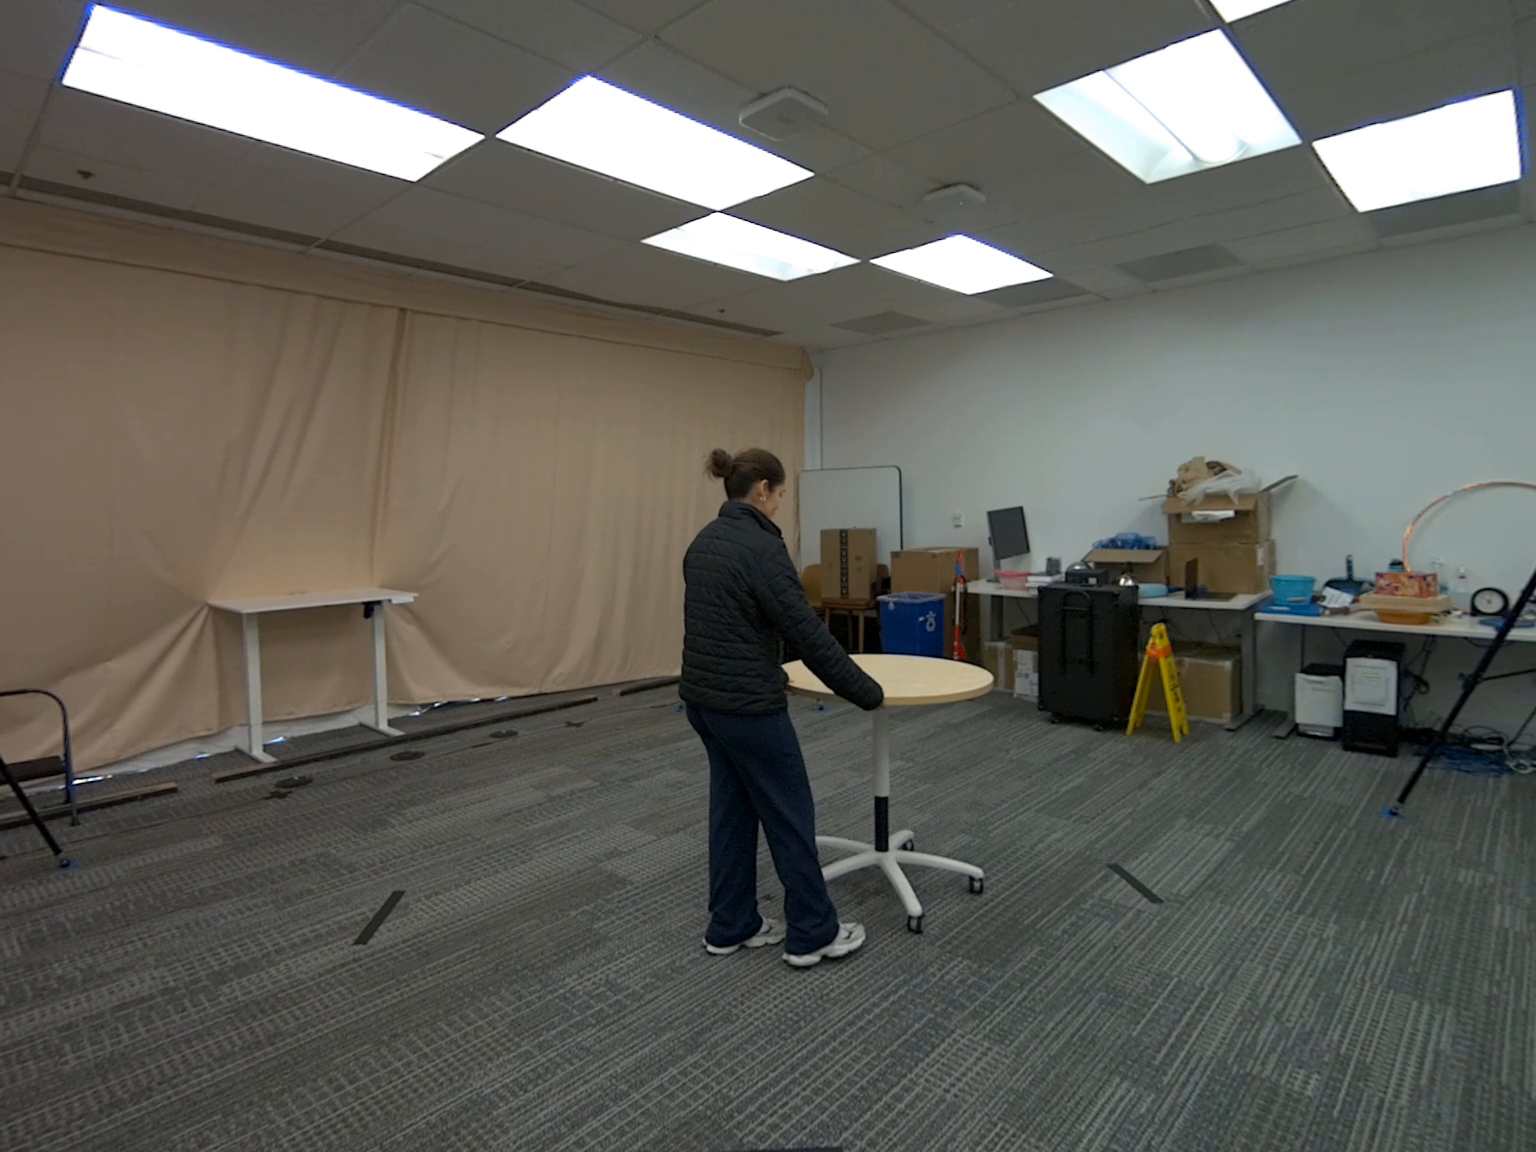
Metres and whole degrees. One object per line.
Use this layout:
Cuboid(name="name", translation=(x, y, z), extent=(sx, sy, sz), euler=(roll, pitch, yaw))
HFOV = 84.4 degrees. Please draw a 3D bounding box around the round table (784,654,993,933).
Cuboid(name="round table", translation=(0.410, 0.735, 3.028), extent=(0.784, 0.785, 0.788), euler=(0, 4, -2))
